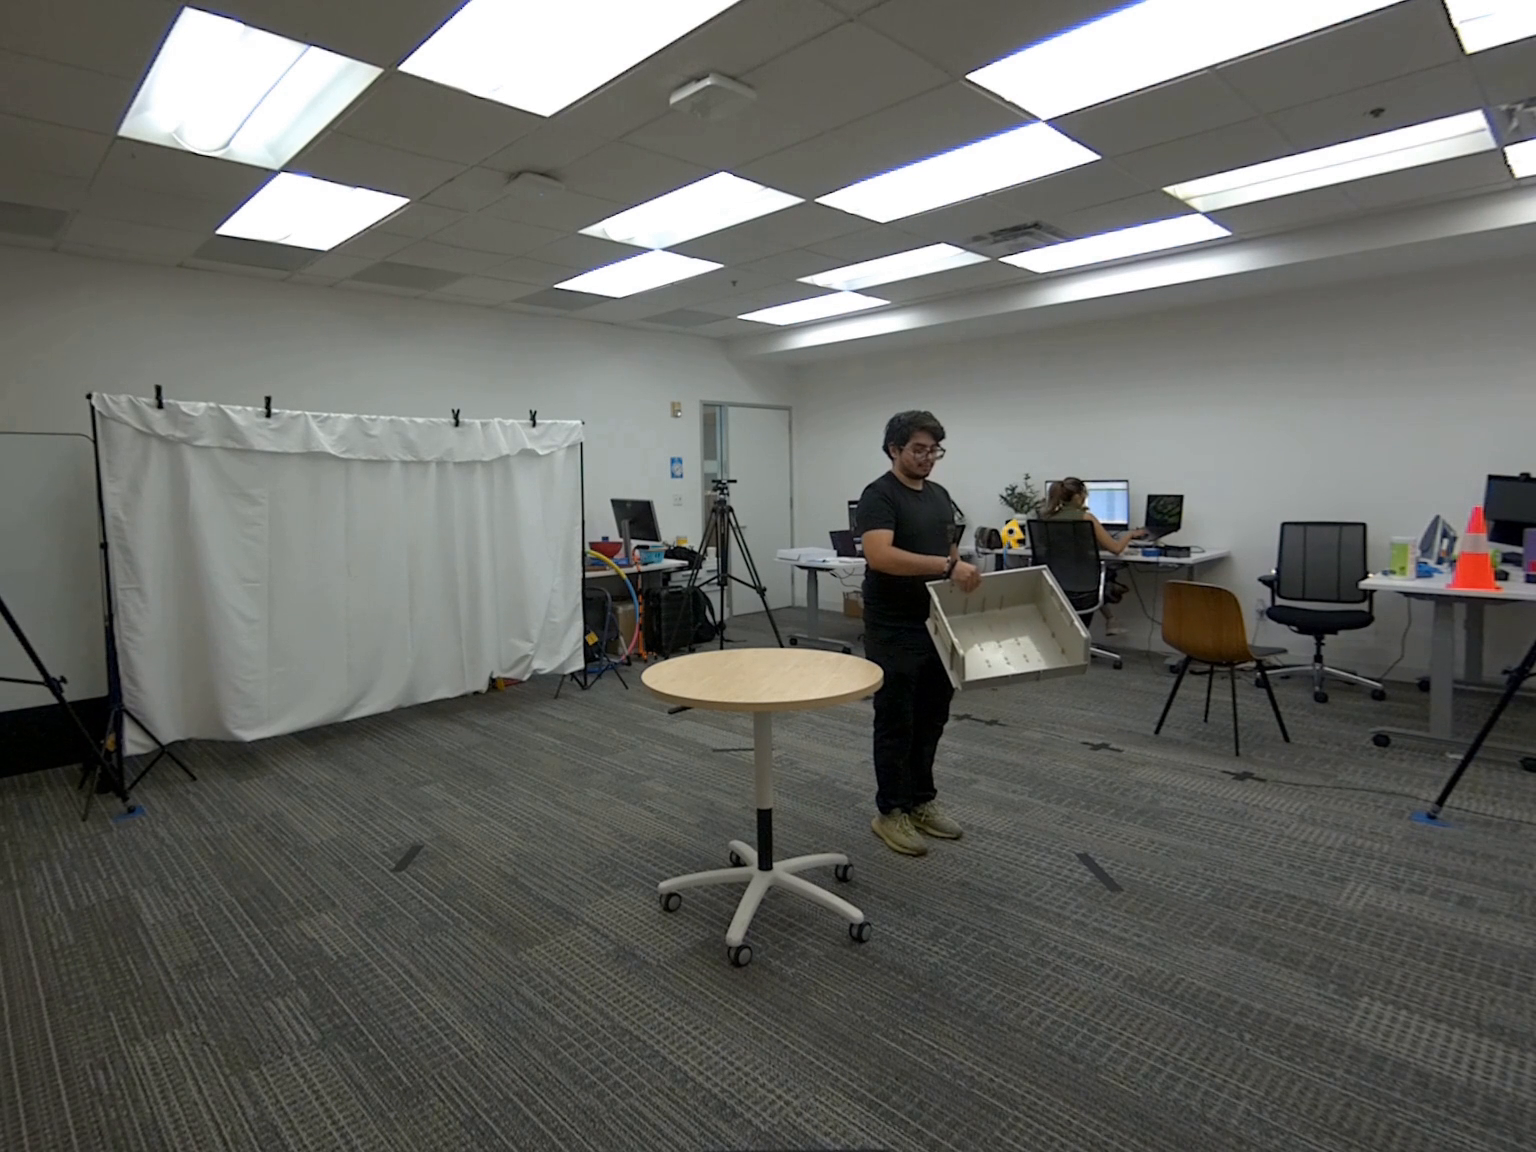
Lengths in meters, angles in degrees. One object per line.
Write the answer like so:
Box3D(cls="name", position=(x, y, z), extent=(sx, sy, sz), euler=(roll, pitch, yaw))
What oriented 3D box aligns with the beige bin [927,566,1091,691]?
Box3D(cls="beige bin", position=(0.785, 0.187, 2.838), extent=(0.422, 0.183, 0.389), euler=(-9, 39, -2))
